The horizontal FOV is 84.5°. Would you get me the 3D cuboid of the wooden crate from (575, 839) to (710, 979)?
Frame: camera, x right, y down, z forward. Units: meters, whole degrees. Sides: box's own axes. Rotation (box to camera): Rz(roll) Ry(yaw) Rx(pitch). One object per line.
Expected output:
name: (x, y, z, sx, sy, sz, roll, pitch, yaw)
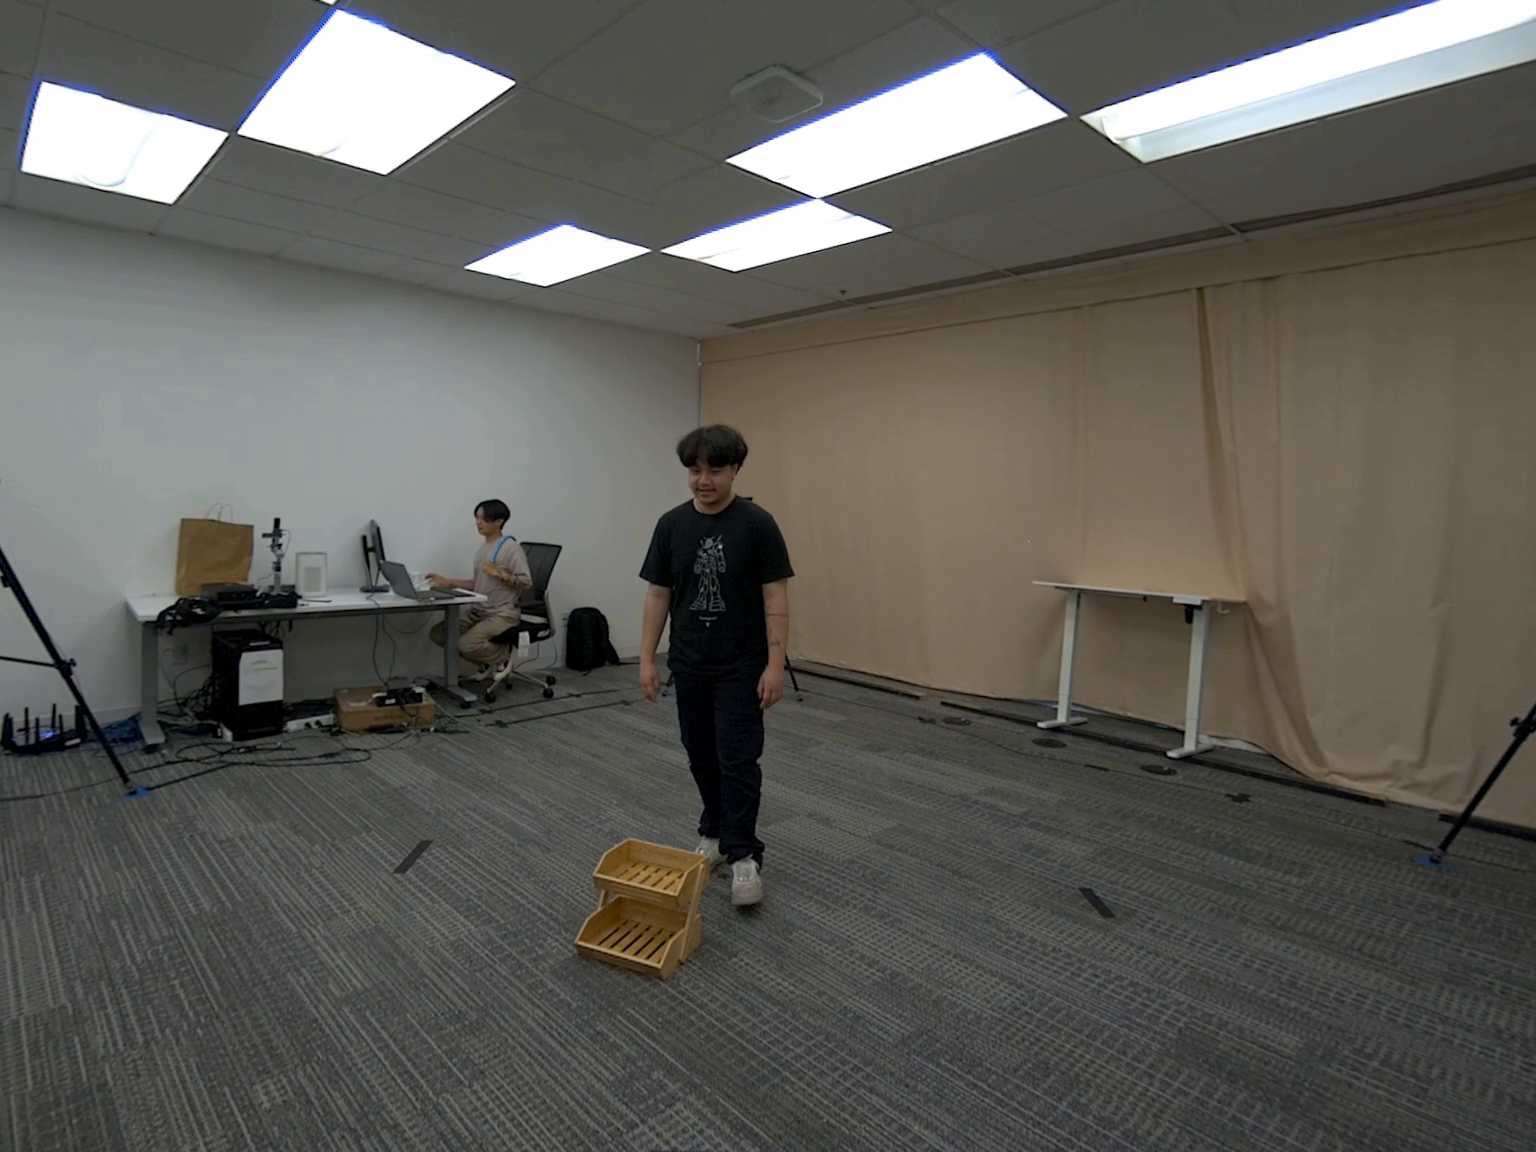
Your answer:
wooden crate: (-0.393, 1.017, 2.594, 0.330, 0.273, 0.297, 3, 4, 23)
